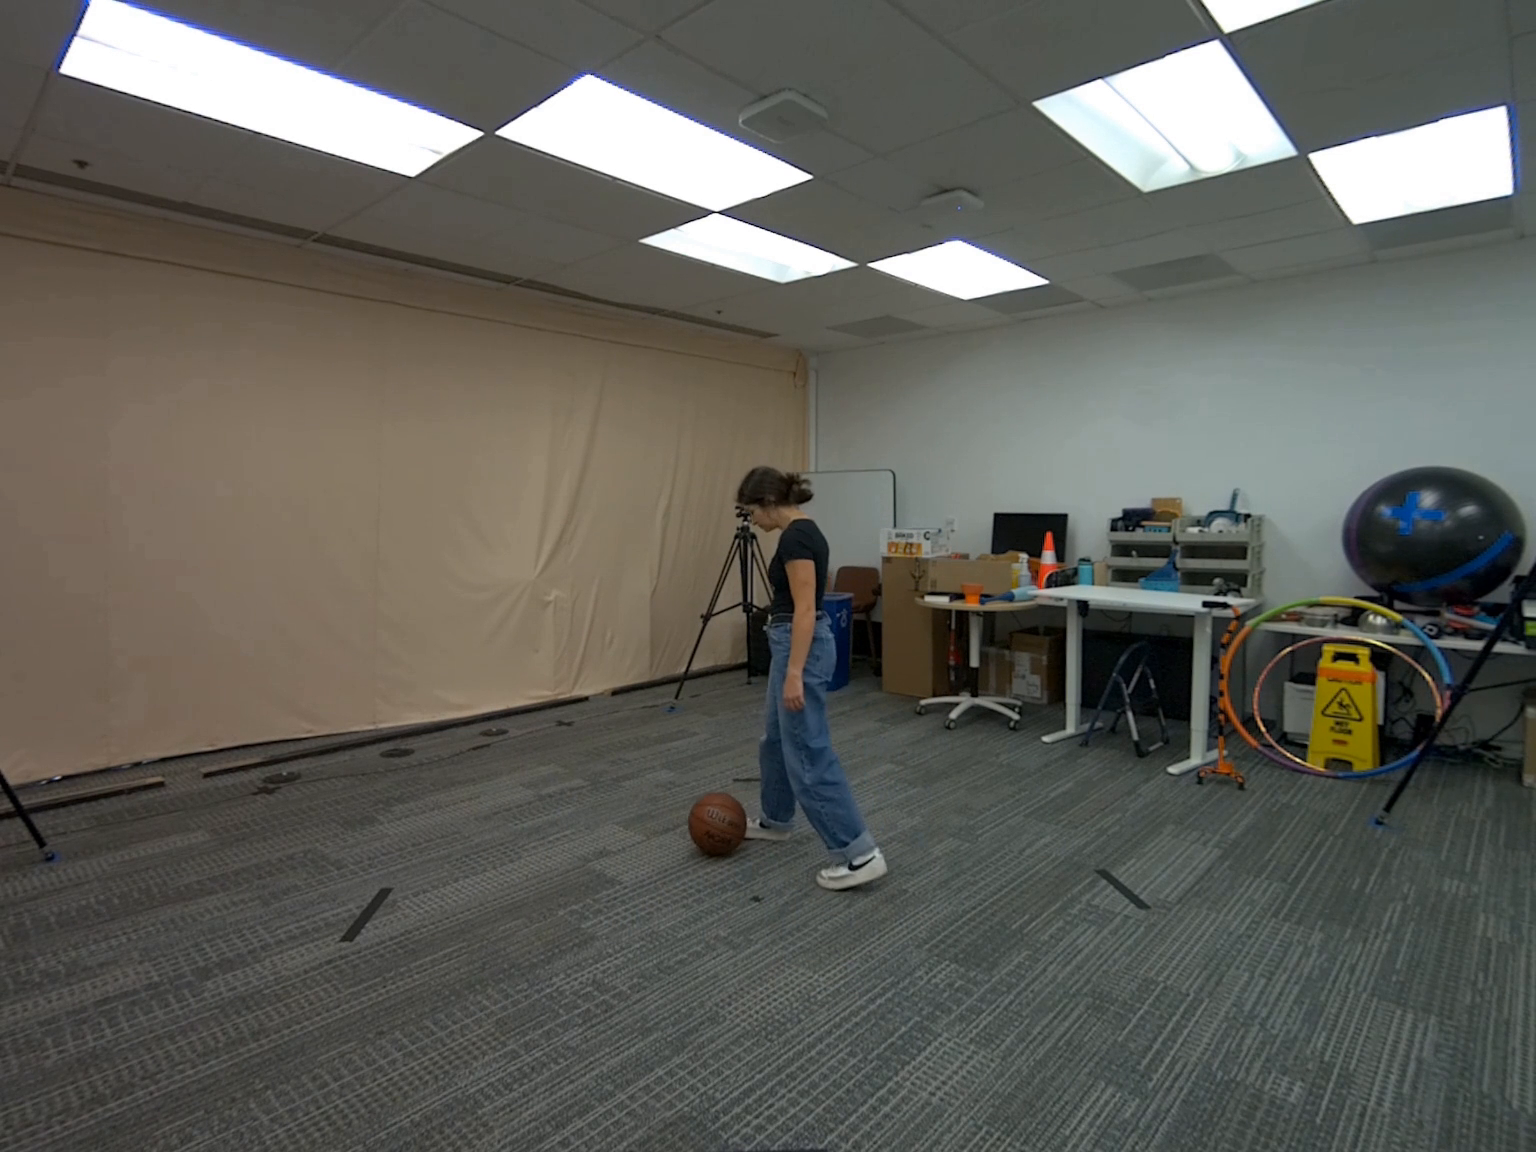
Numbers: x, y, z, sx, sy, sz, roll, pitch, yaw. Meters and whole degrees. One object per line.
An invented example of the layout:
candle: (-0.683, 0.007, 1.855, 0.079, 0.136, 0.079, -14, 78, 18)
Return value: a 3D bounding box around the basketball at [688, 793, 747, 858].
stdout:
basketball: (-0.201, 0.989, 3.375, 0.236, 0.235, 0.237, 0, 4, -2)
